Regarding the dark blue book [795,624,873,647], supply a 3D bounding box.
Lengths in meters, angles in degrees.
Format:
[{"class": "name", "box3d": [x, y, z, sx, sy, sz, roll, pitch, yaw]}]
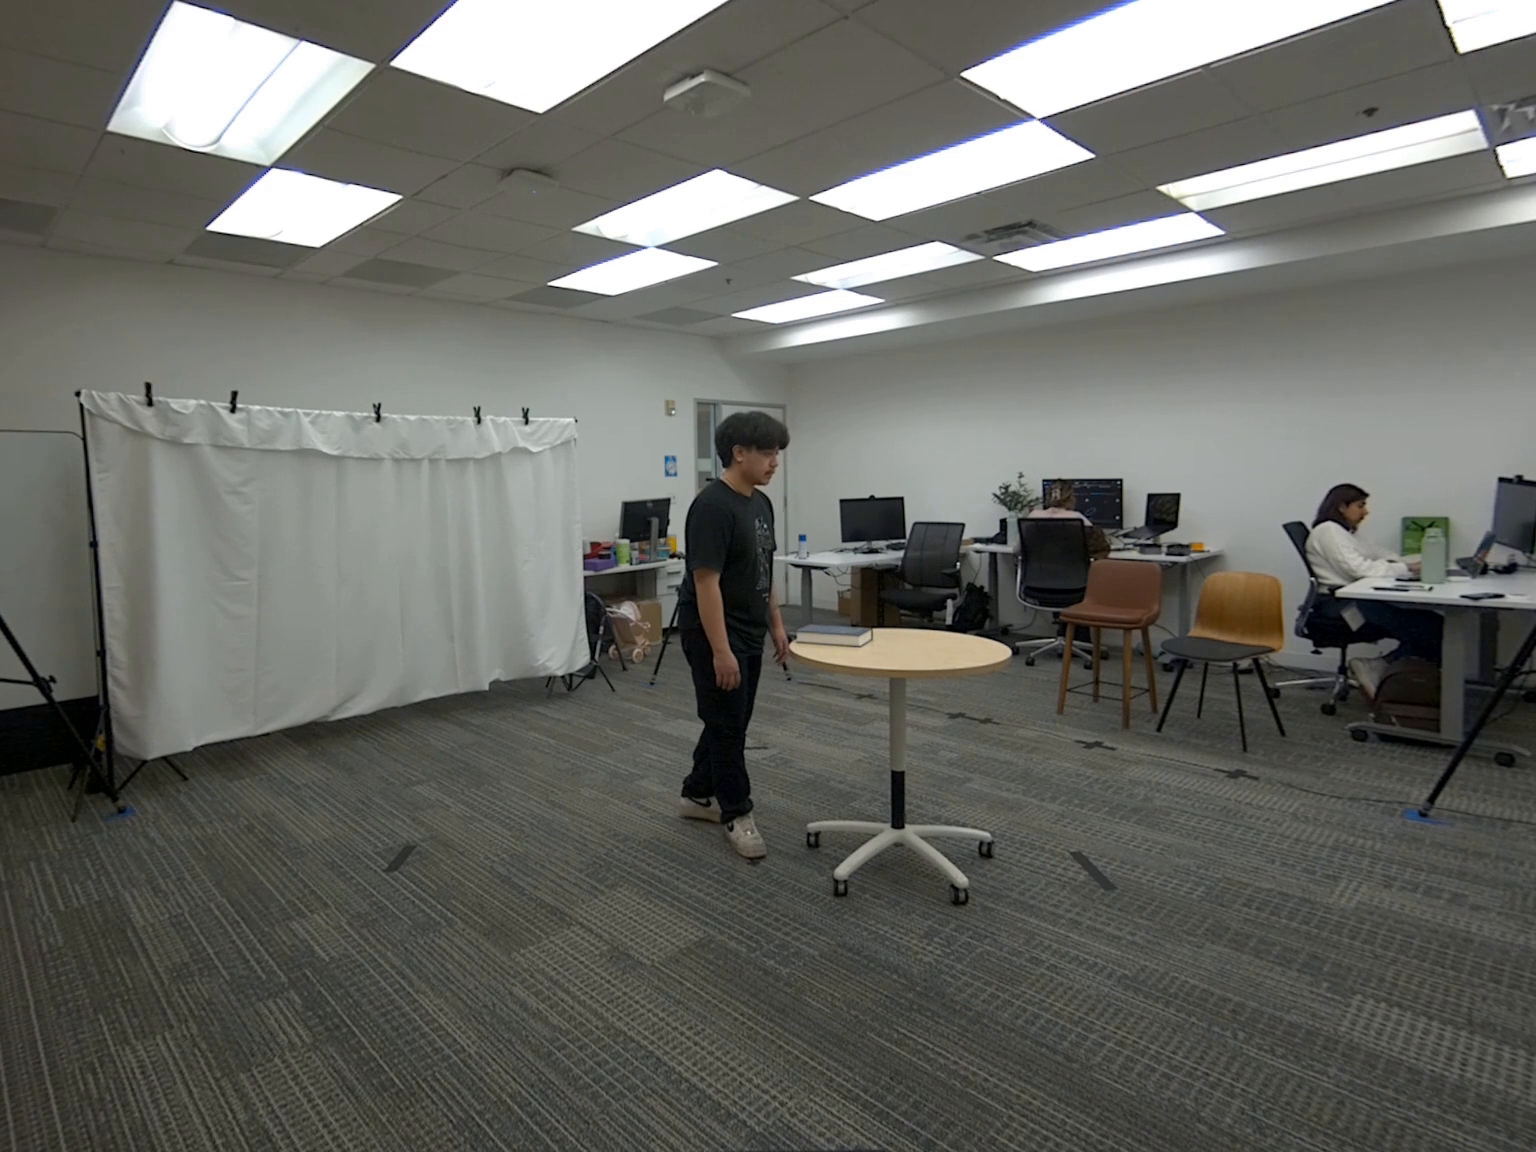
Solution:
[{"class": "dark blue book", "box3d": [0.246, 0.217, 3.136, 0.251, 0.045, 0.160, 2, 7, 25]}]
